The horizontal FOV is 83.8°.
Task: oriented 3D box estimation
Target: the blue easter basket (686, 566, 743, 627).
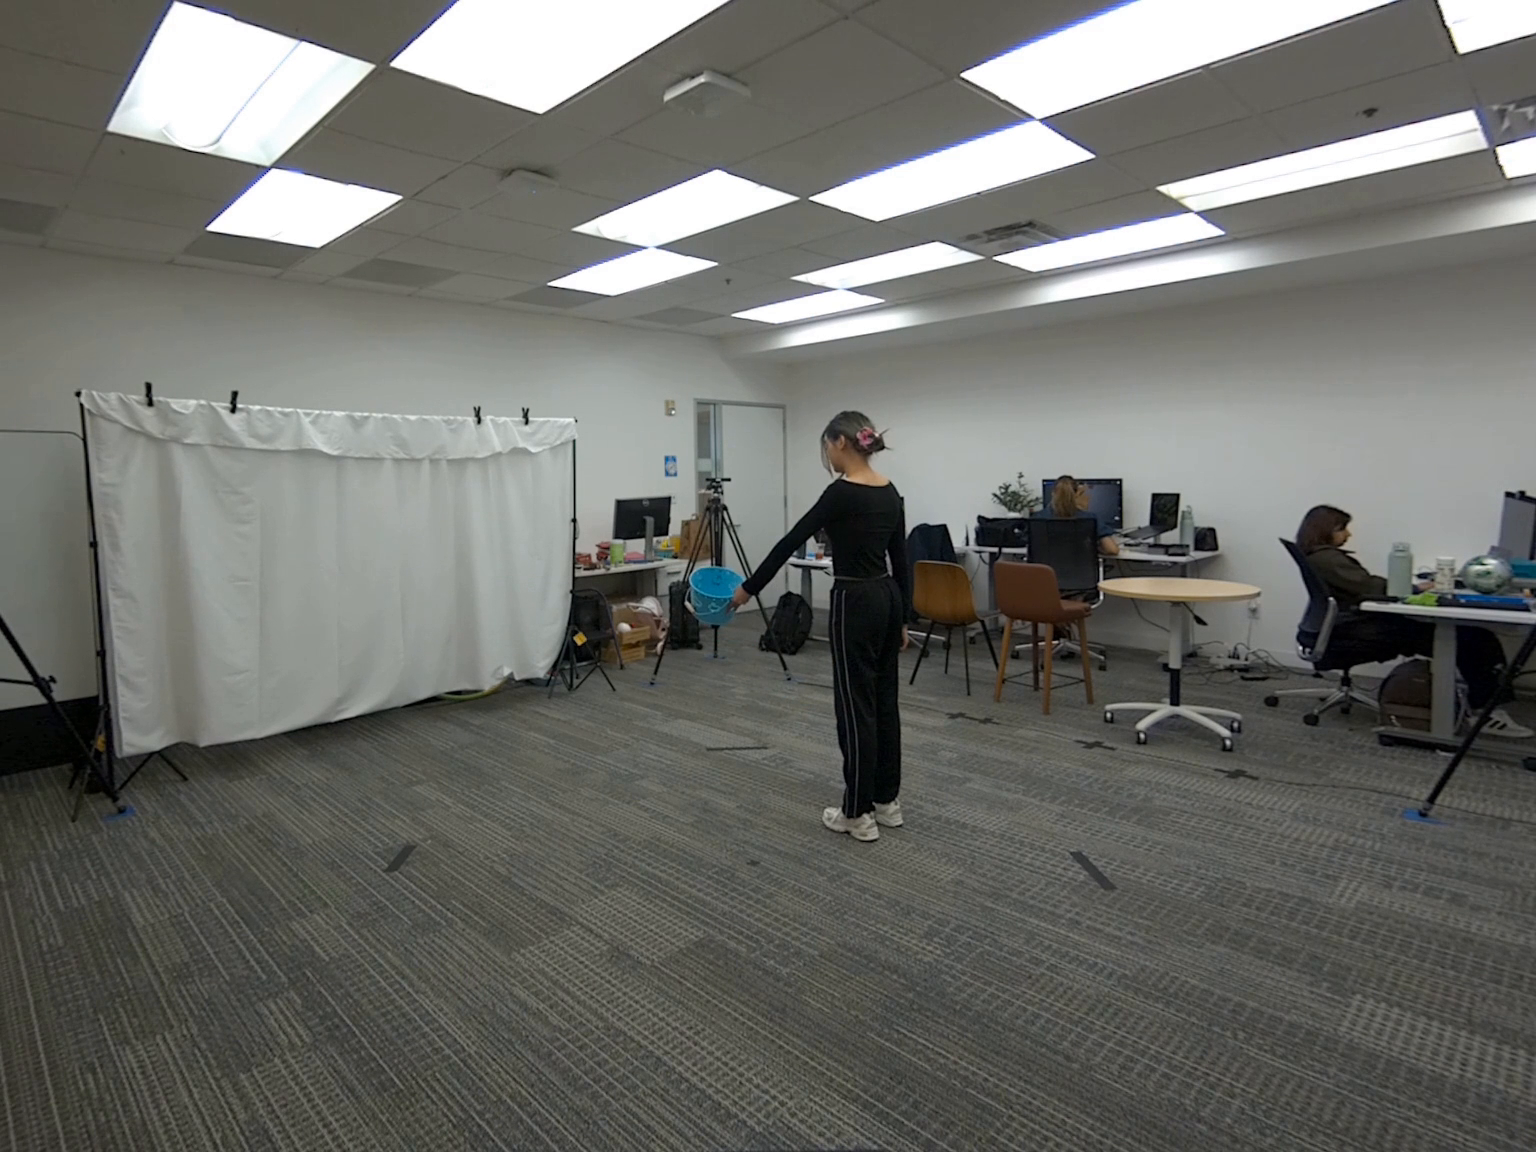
[{"bbox_3d":[-0.209,0.096,3.523,0.242,0.153,0.249,7,30,-6],"label":"blue easter basket"}]
